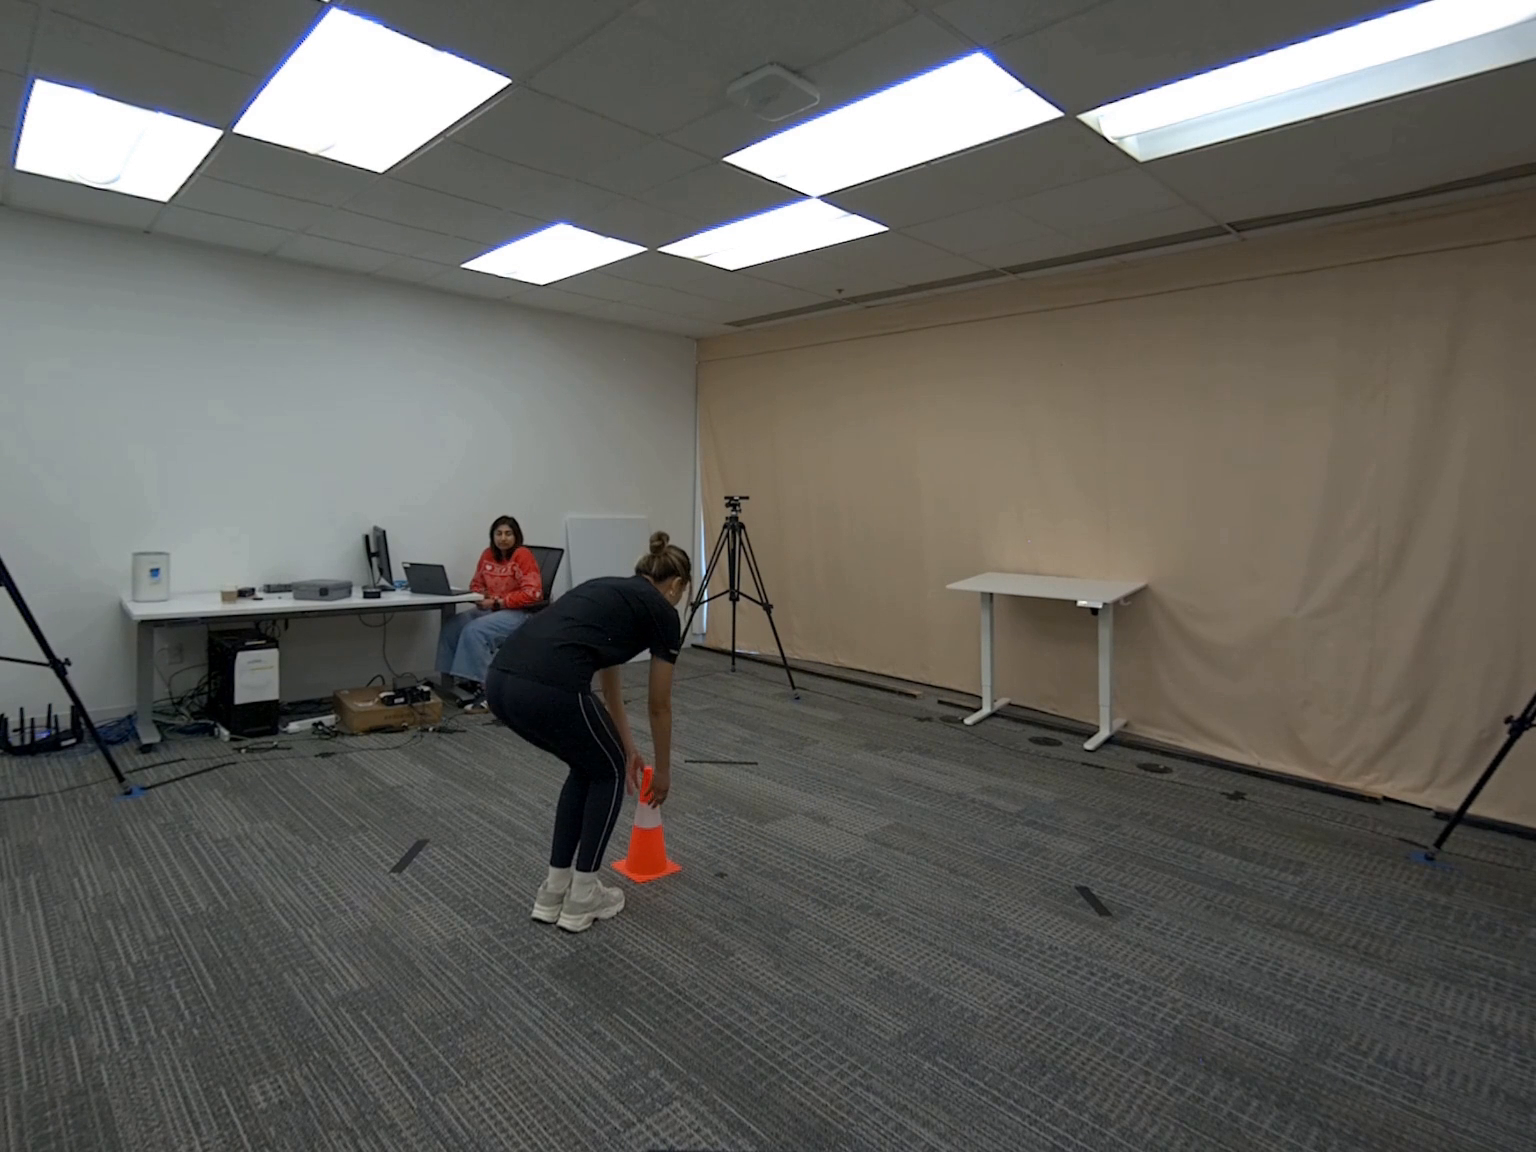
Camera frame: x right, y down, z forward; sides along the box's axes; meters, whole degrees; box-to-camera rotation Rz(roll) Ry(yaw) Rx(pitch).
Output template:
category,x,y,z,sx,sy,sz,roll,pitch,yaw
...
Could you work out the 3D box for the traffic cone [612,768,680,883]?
category,x,y,z,sx,sy,sz,roll,pitch,yaw
traffic cone,-0.465,0.909,3.150,0.198,0.383,0.210,-1,4,-45
